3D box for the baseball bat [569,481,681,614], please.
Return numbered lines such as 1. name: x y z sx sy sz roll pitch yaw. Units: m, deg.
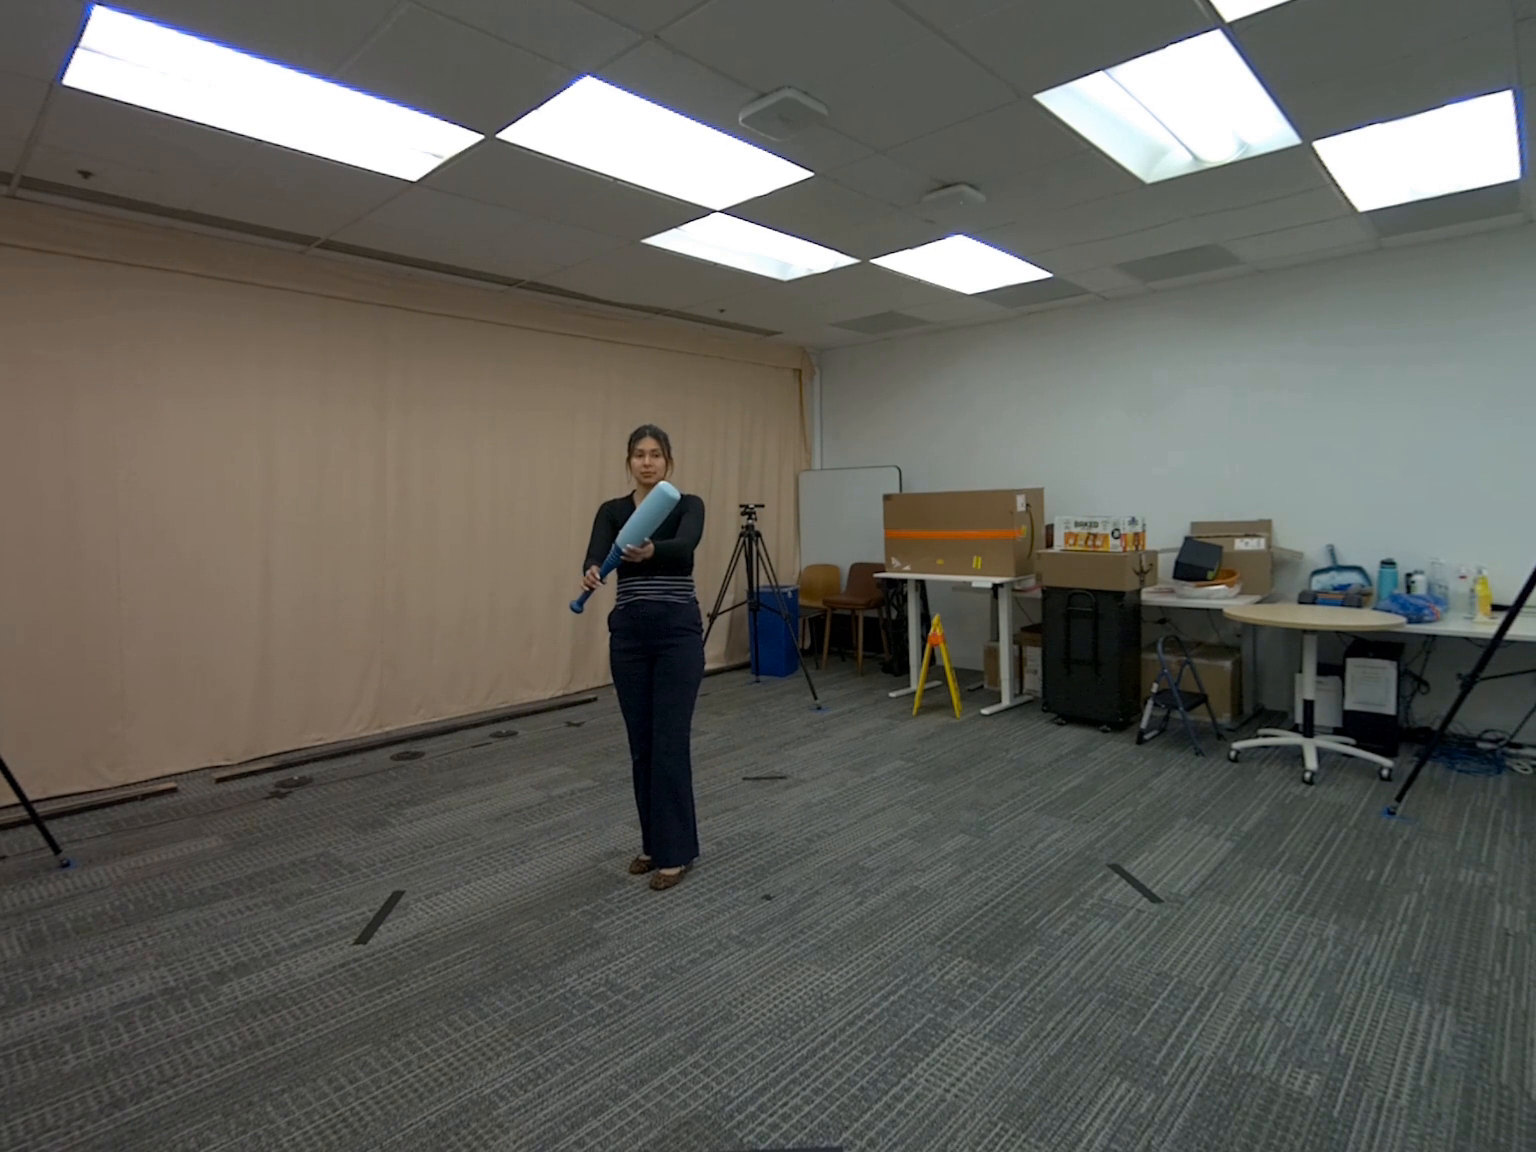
1. baseball bat: -0.462 -0.078 2.666 0.087 0.545 0.090 35 20 -17
